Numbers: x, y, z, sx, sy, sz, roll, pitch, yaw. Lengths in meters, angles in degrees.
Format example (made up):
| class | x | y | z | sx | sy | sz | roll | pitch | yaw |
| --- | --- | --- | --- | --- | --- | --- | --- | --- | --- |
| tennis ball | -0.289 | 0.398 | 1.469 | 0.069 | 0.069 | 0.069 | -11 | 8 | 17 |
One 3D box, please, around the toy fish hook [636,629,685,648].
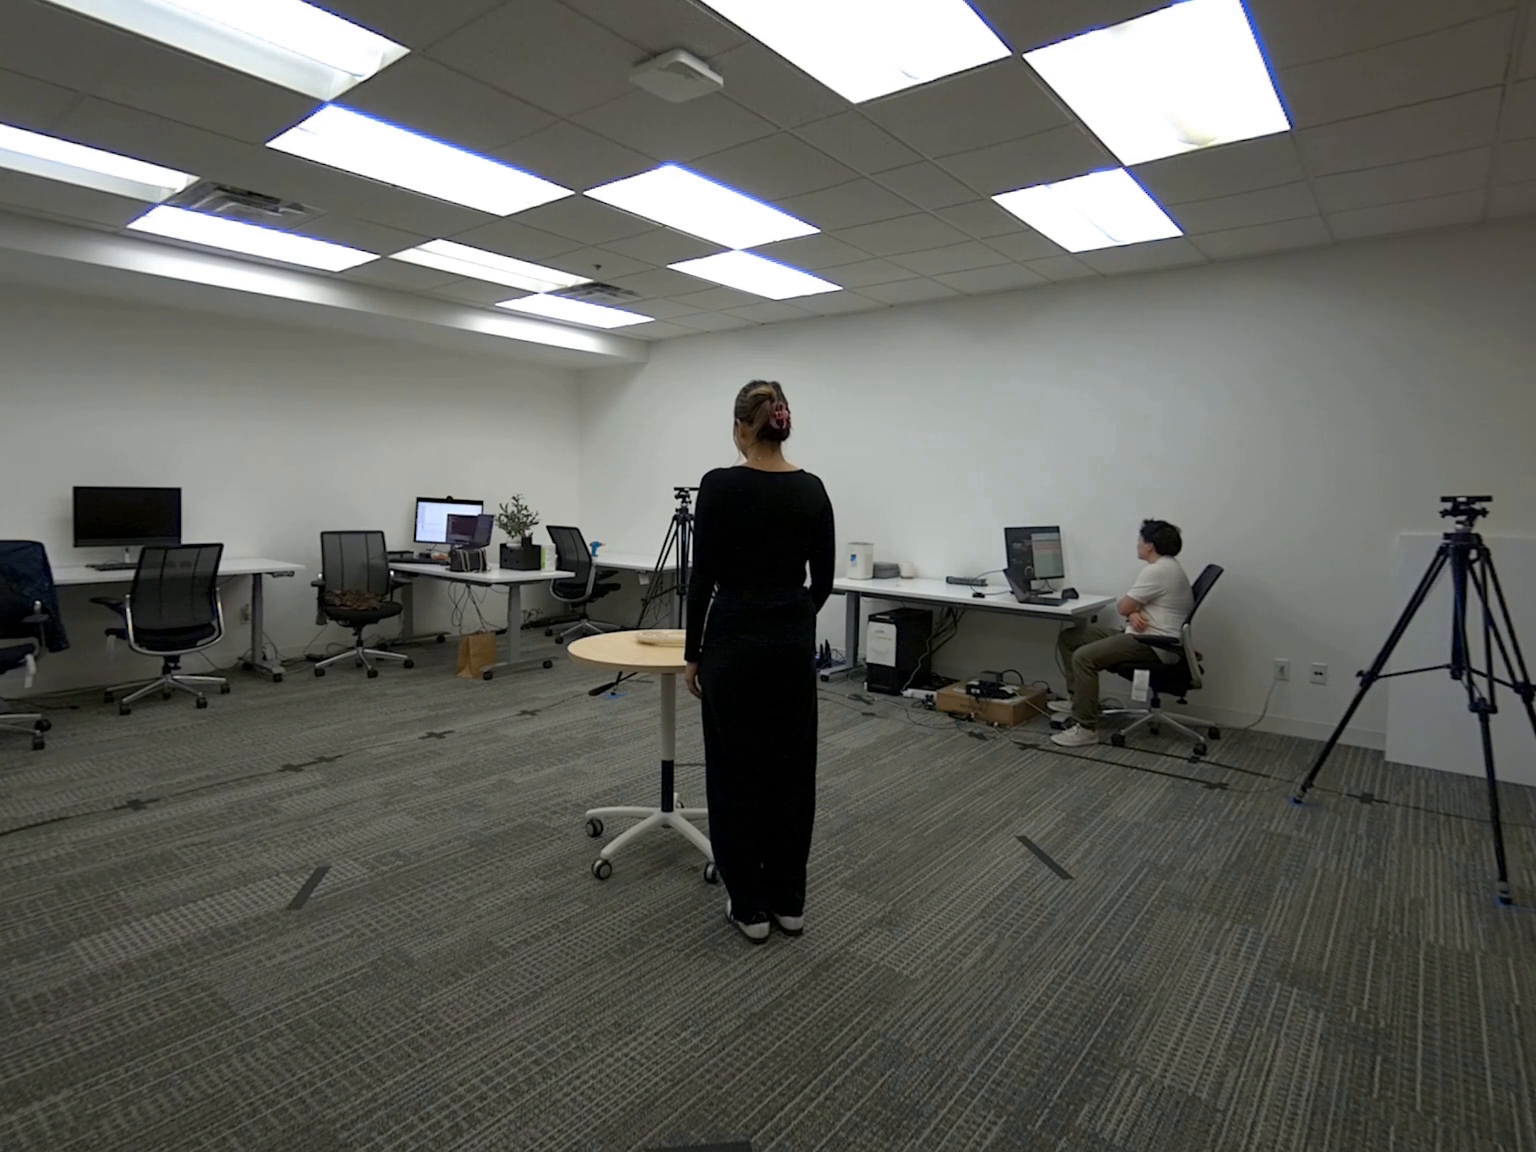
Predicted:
| class | x | y | z | sx | sy | sz | roll | pitch | yaw |
| --- | --- | --- | --- | --- | --- | --- | --- | --- | --- |
| toy fish hook | -0.286 | 0.243 | 3.313 | 0.518 | 0.048 | 0.221 | 2 | 8 | 22 |
